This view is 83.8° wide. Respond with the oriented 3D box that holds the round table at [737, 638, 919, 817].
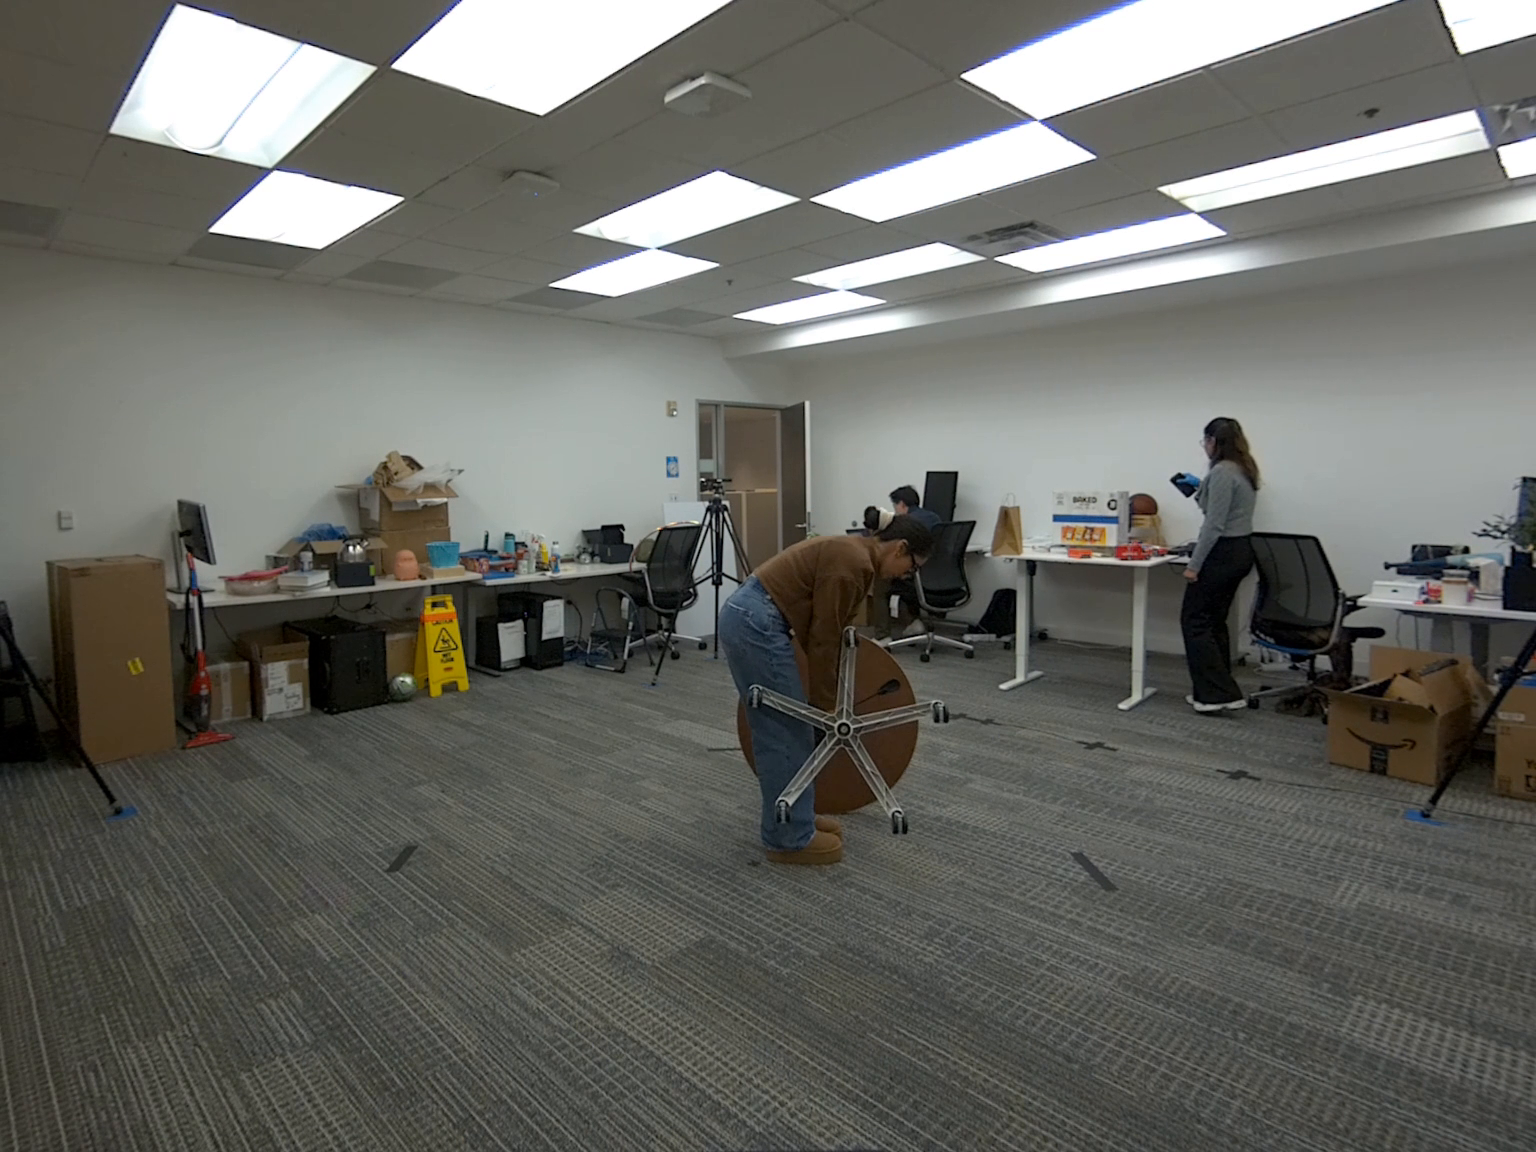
[{"bbox_3d":[0.271,0.572,3.238,0.764,0.769,0.788,-1,-7,0],"label":"round table"}]
